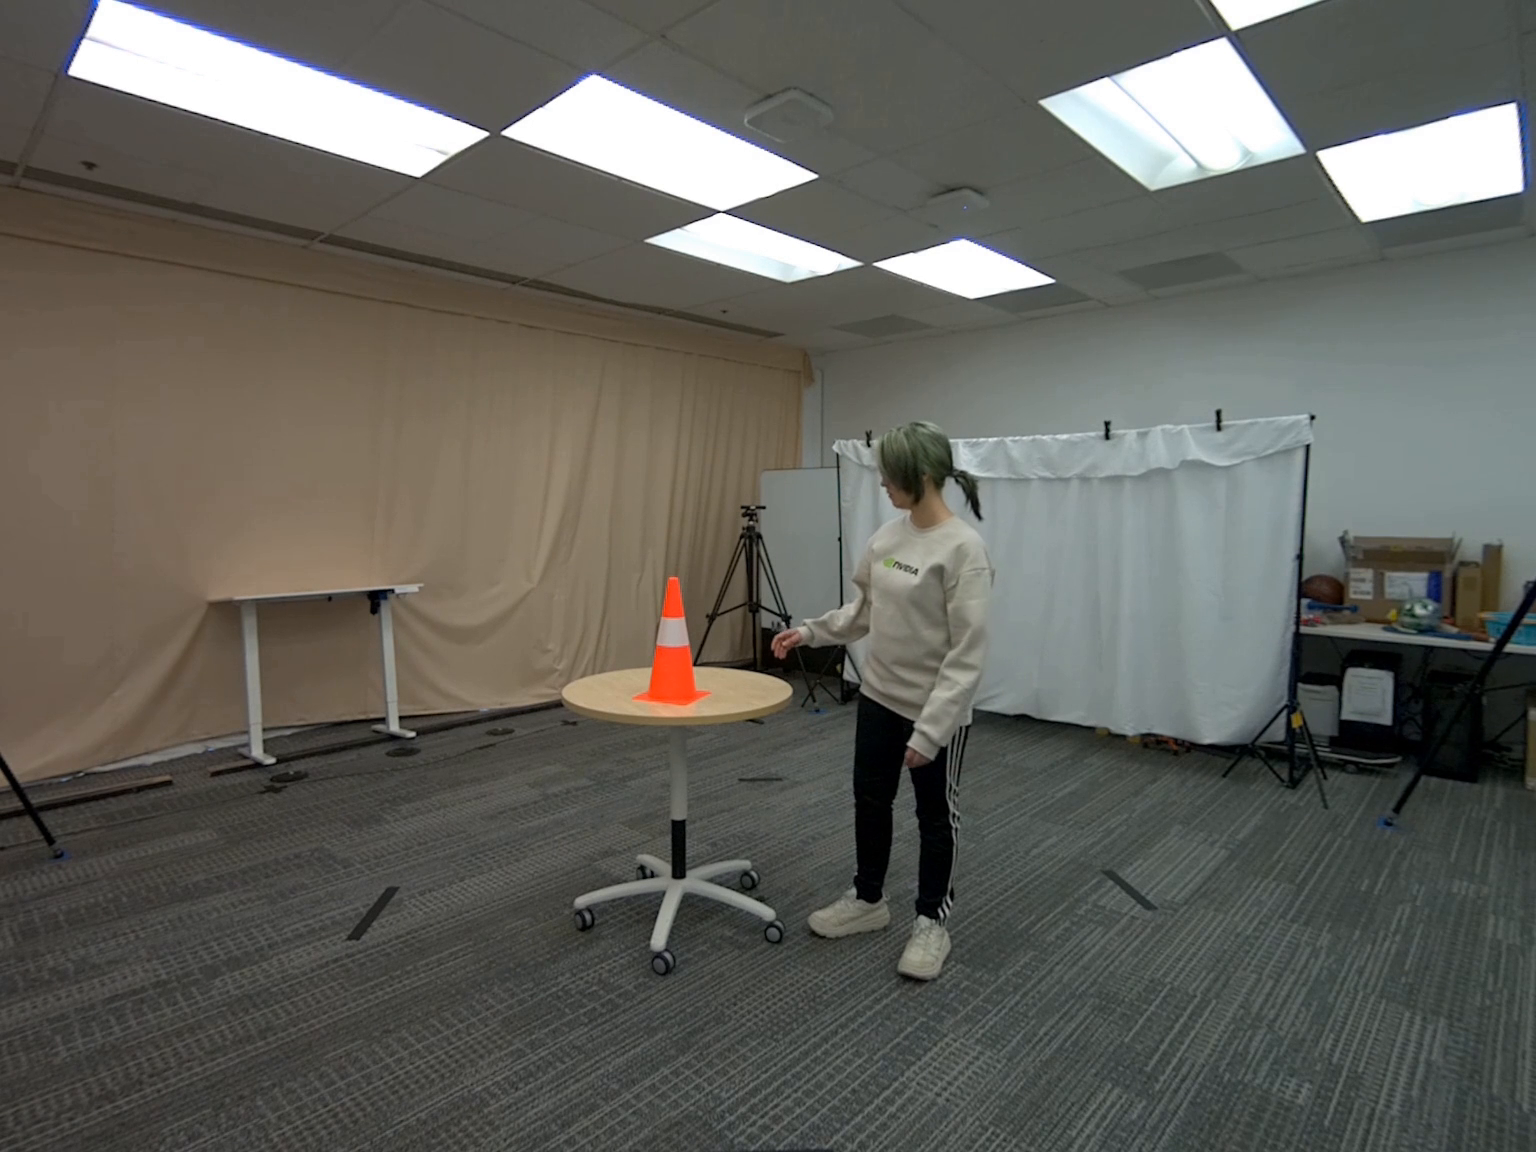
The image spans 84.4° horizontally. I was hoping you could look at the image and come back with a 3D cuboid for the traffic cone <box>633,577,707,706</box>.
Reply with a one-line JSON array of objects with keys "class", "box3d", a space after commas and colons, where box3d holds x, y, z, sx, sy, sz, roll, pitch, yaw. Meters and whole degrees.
[{"class": "traffic cone", "box3d": [-0.308, 0.200, 2.699, 0.210, 0.383, 0.198, 1, 2, 27]}]
